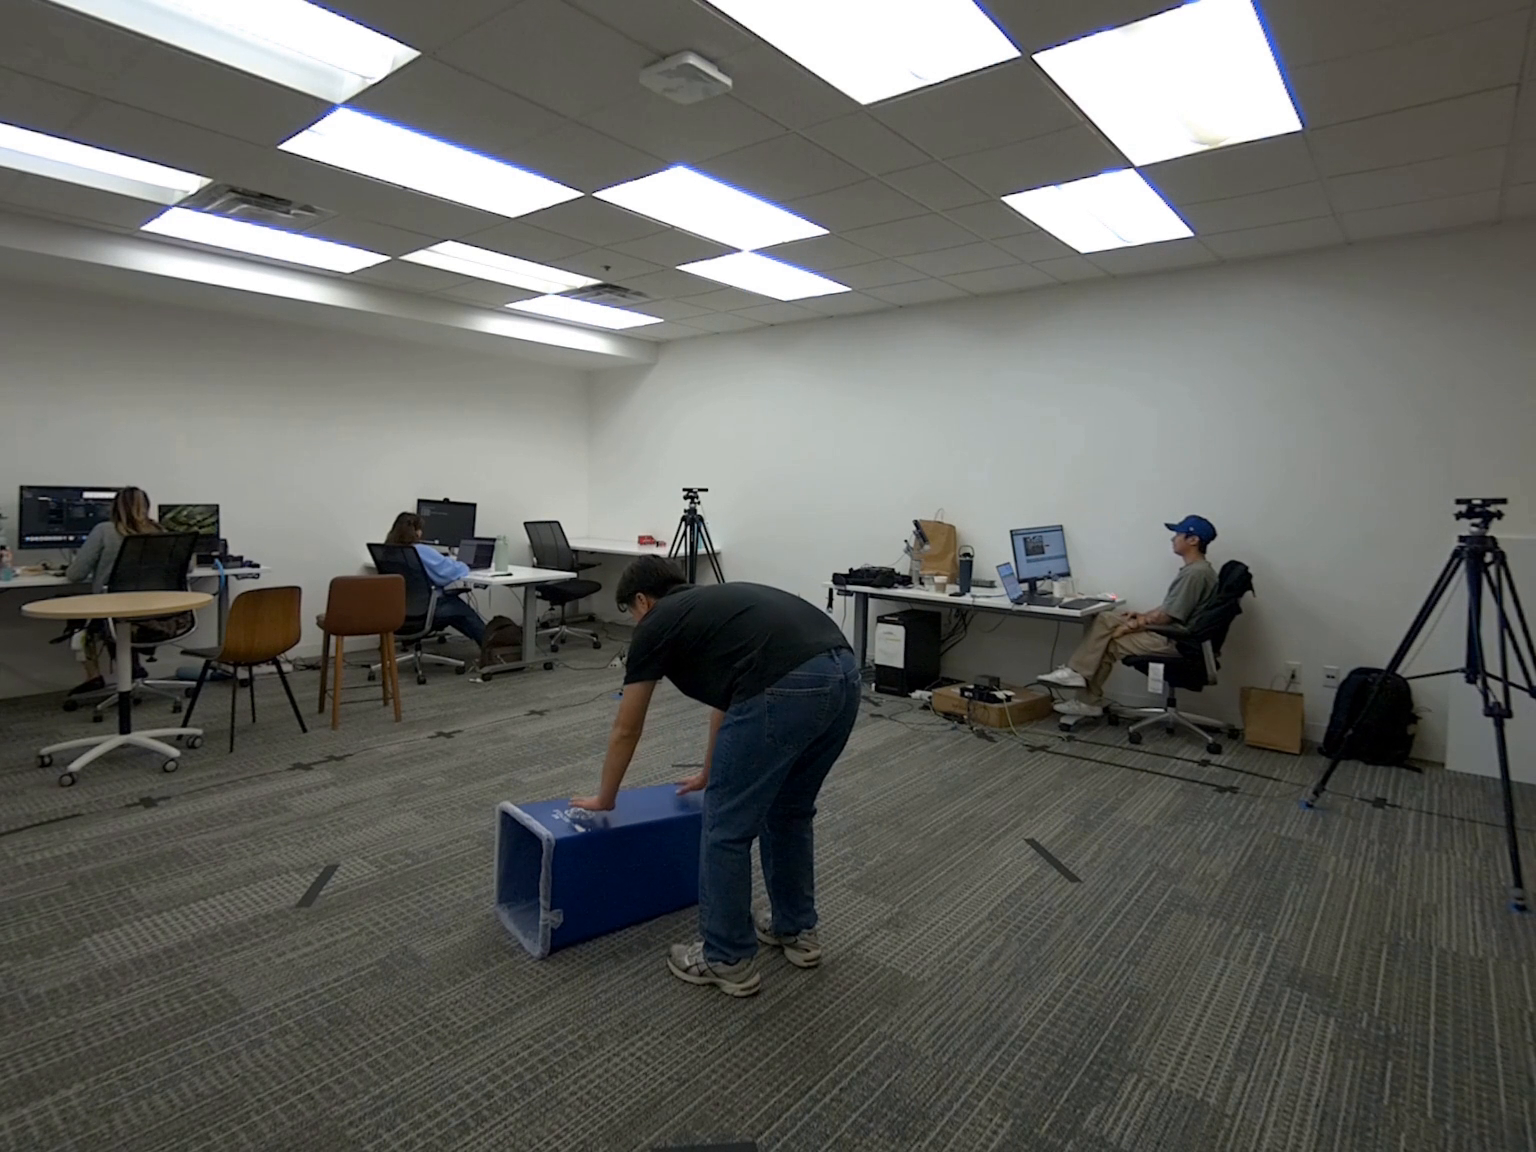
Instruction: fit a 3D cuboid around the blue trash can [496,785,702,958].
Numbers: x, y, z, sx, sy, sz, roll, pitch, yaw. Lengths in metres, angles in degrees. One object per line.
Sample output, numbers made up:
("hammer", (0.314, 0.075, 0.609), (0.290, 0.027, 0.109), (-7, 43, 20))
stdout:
("blue trash can", (-0.510, 0.925, 2.830), (0.691, 0.377, 0.386), (1, 3, -38))
